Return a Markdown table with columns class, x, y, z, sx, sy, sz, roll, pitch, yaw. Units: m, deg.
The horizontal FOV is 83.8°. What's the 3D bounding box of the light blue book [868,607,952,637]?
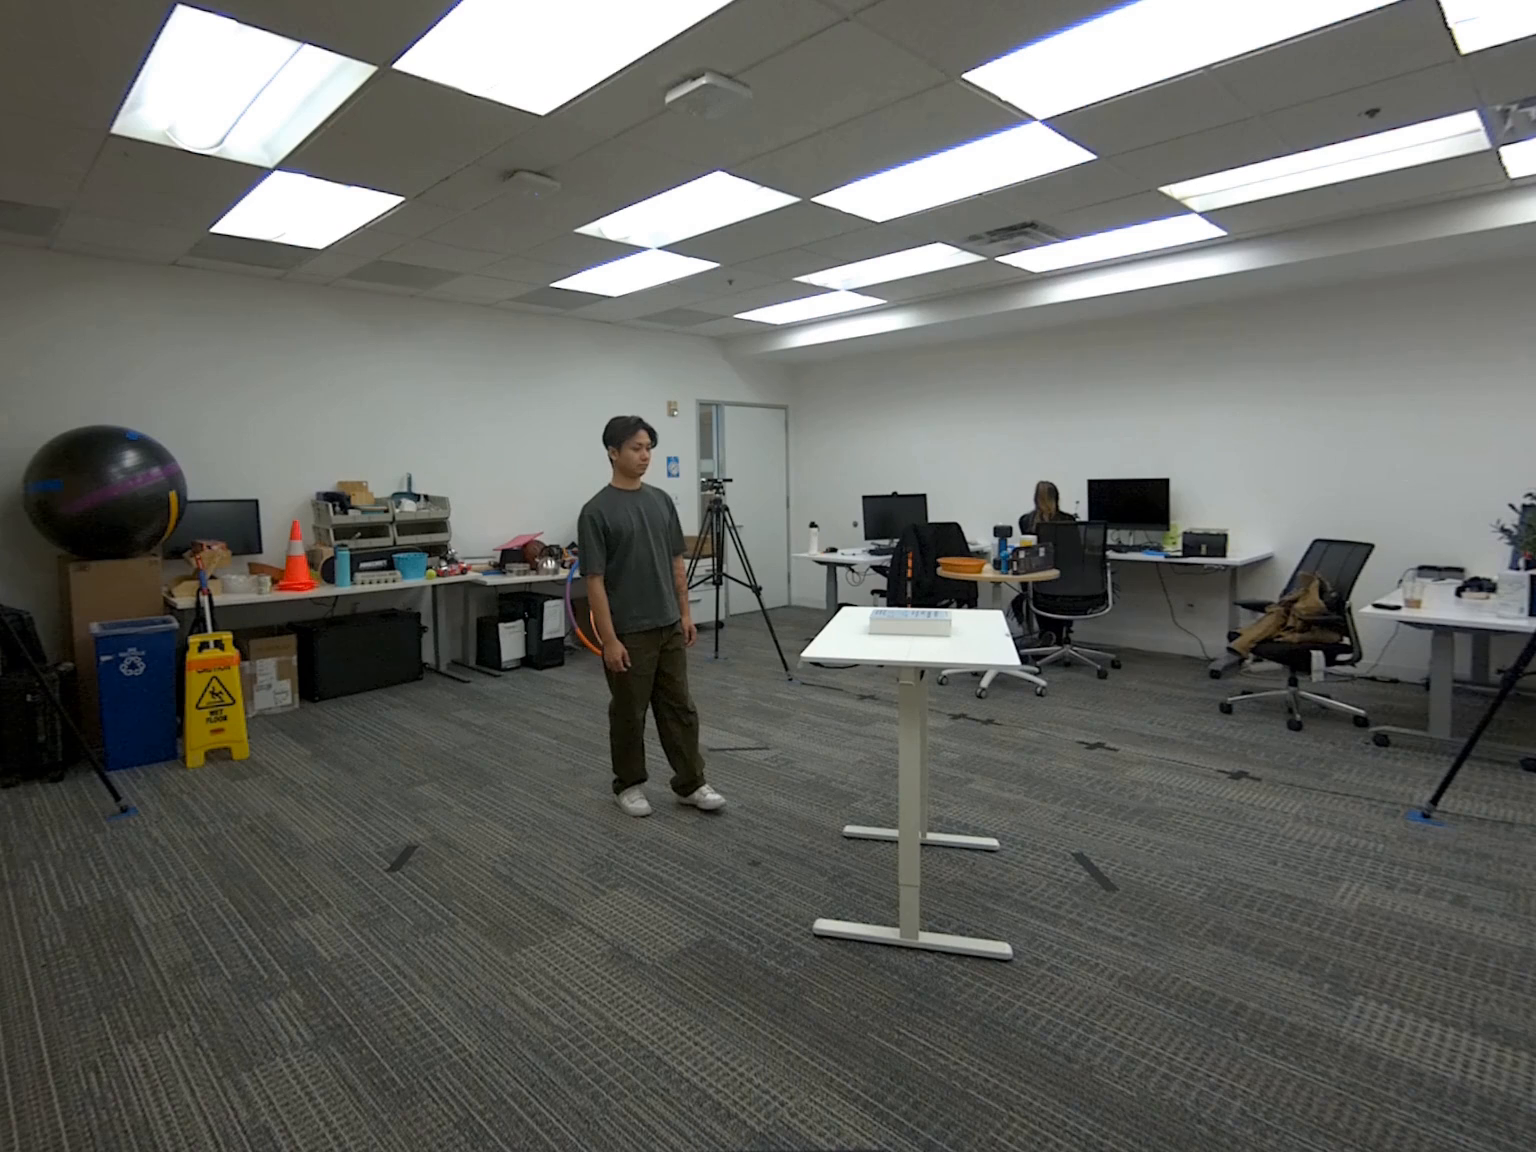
| class | x | y | z | sx | sy | sz | roll | pitch | yaw |
| --- | --- | --- | --- | --- | --- | --- | --- | --- | --- |
| light blue book | 0.485 | 0.154 | 2.845 | 0.264 | 0.059 | 0.190 | 0 | 7 | 13 |
